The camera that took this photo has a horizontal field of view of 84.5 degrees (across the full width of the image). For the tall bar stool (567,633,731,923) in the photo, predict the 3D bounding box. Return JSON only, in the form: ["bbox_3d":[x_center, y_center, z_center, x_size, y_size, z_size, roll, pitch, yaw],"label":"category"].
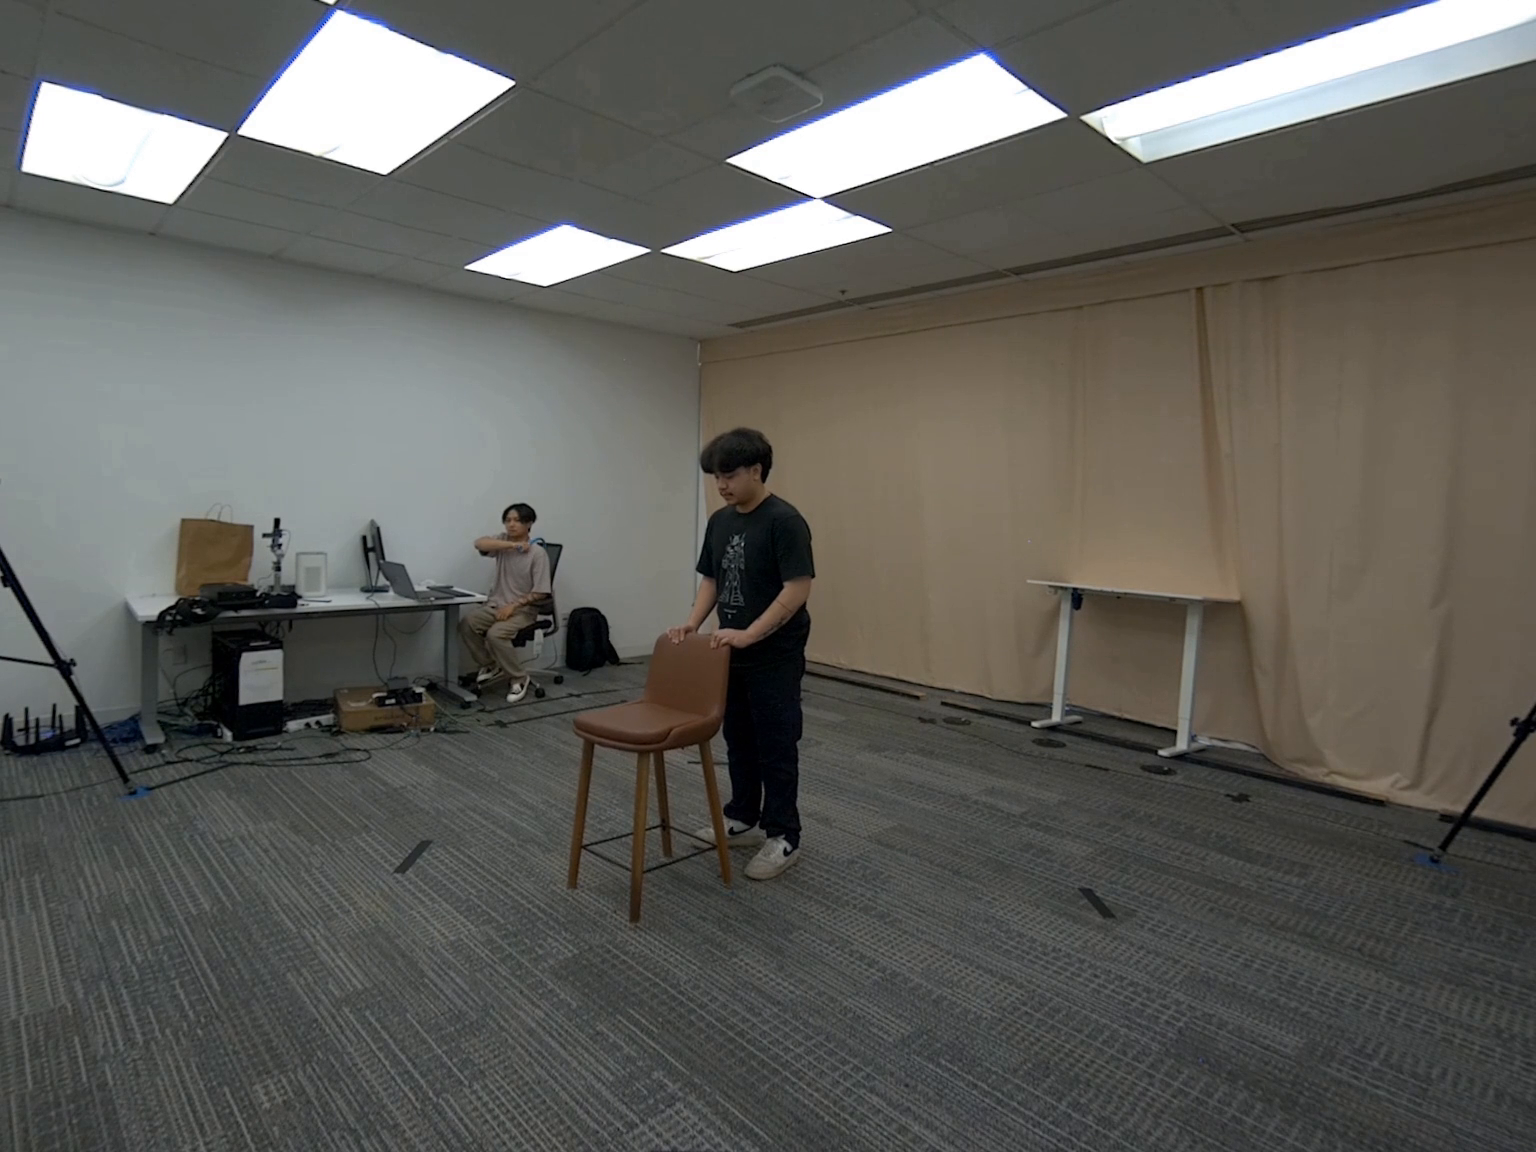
[{"bbox_3d":[-0.416,0.666,2.992,0.456,0.890,0.467,1,-1,-43],"label":"tall bar stool"}]
